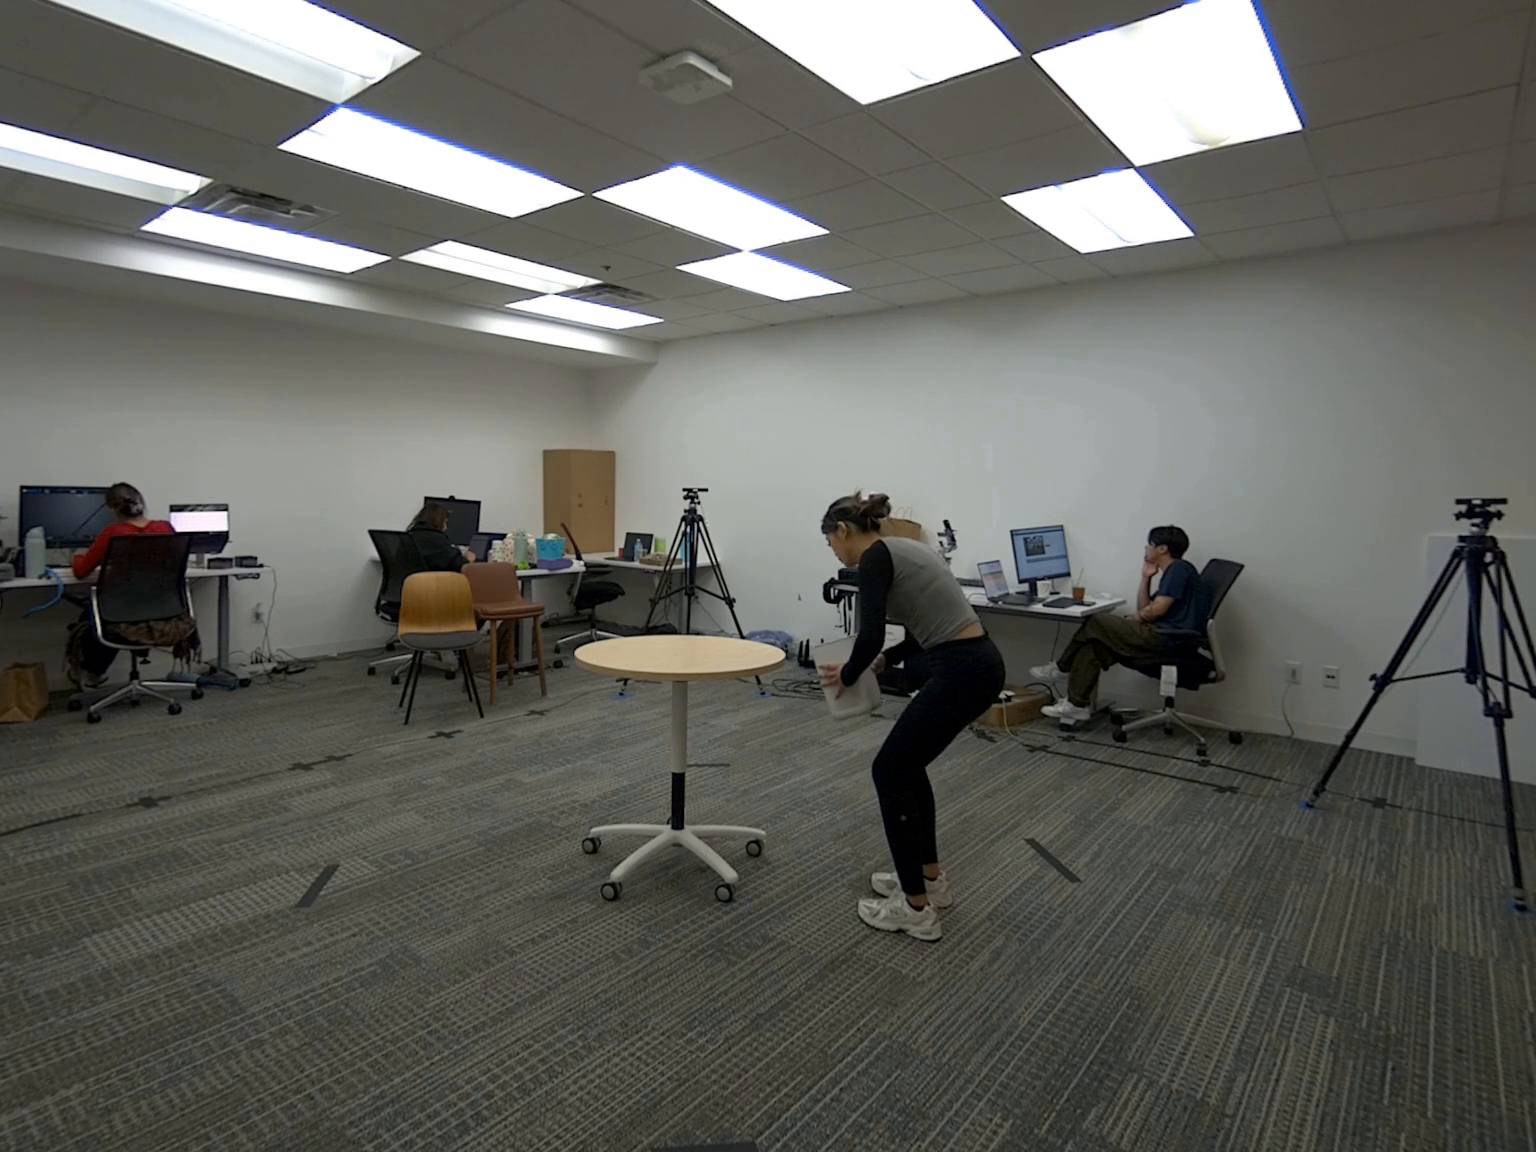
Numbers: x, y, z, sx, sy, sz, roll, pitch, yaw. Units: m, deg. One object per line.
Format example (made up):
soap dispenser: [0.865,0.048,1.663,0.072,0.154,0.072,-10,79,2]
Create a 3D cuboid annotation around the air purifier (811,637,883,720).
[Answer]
air purifier: [0.272,0.348,2.948,0.174,0.268,0.166,-19,-10,22]
